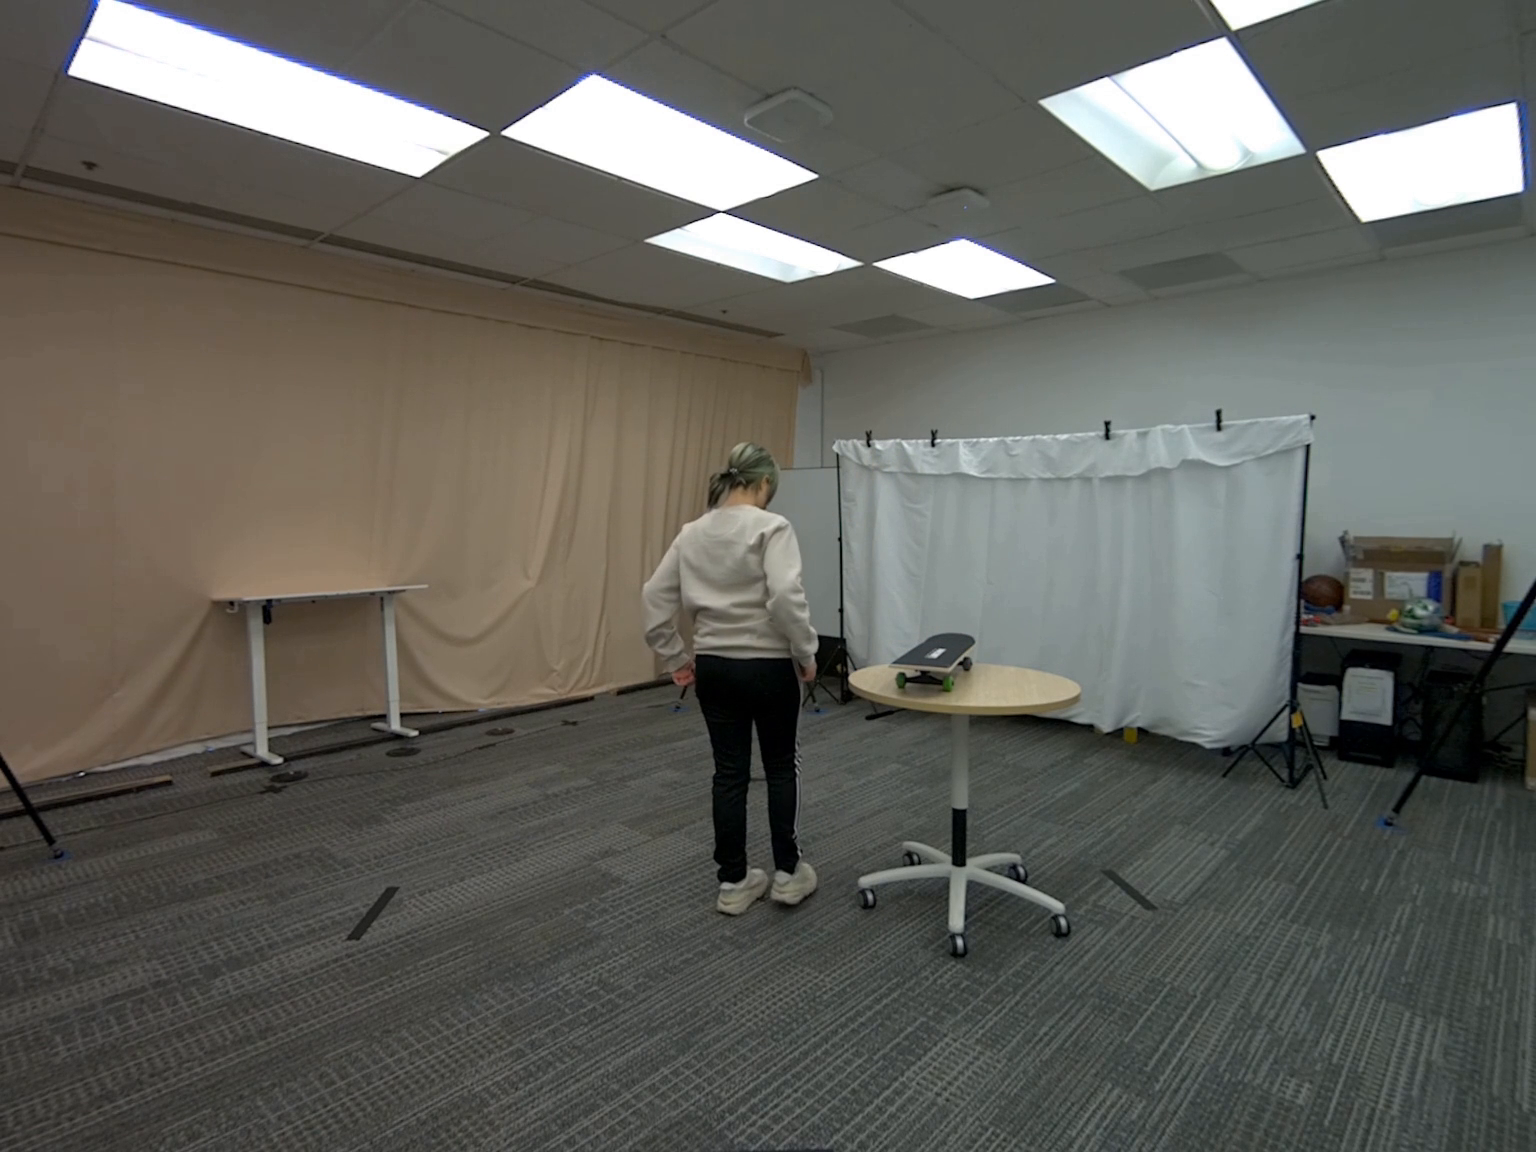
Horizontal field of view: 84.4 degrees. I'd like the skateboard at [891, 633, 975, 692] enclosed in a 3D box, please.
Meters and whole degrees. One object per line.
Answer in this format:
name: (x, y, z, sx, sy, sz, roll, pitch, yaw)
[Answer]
skateboard: (0.600, 0.312, 2.950, 0.198, 0.110, 0.768, -1, 4, 23)
